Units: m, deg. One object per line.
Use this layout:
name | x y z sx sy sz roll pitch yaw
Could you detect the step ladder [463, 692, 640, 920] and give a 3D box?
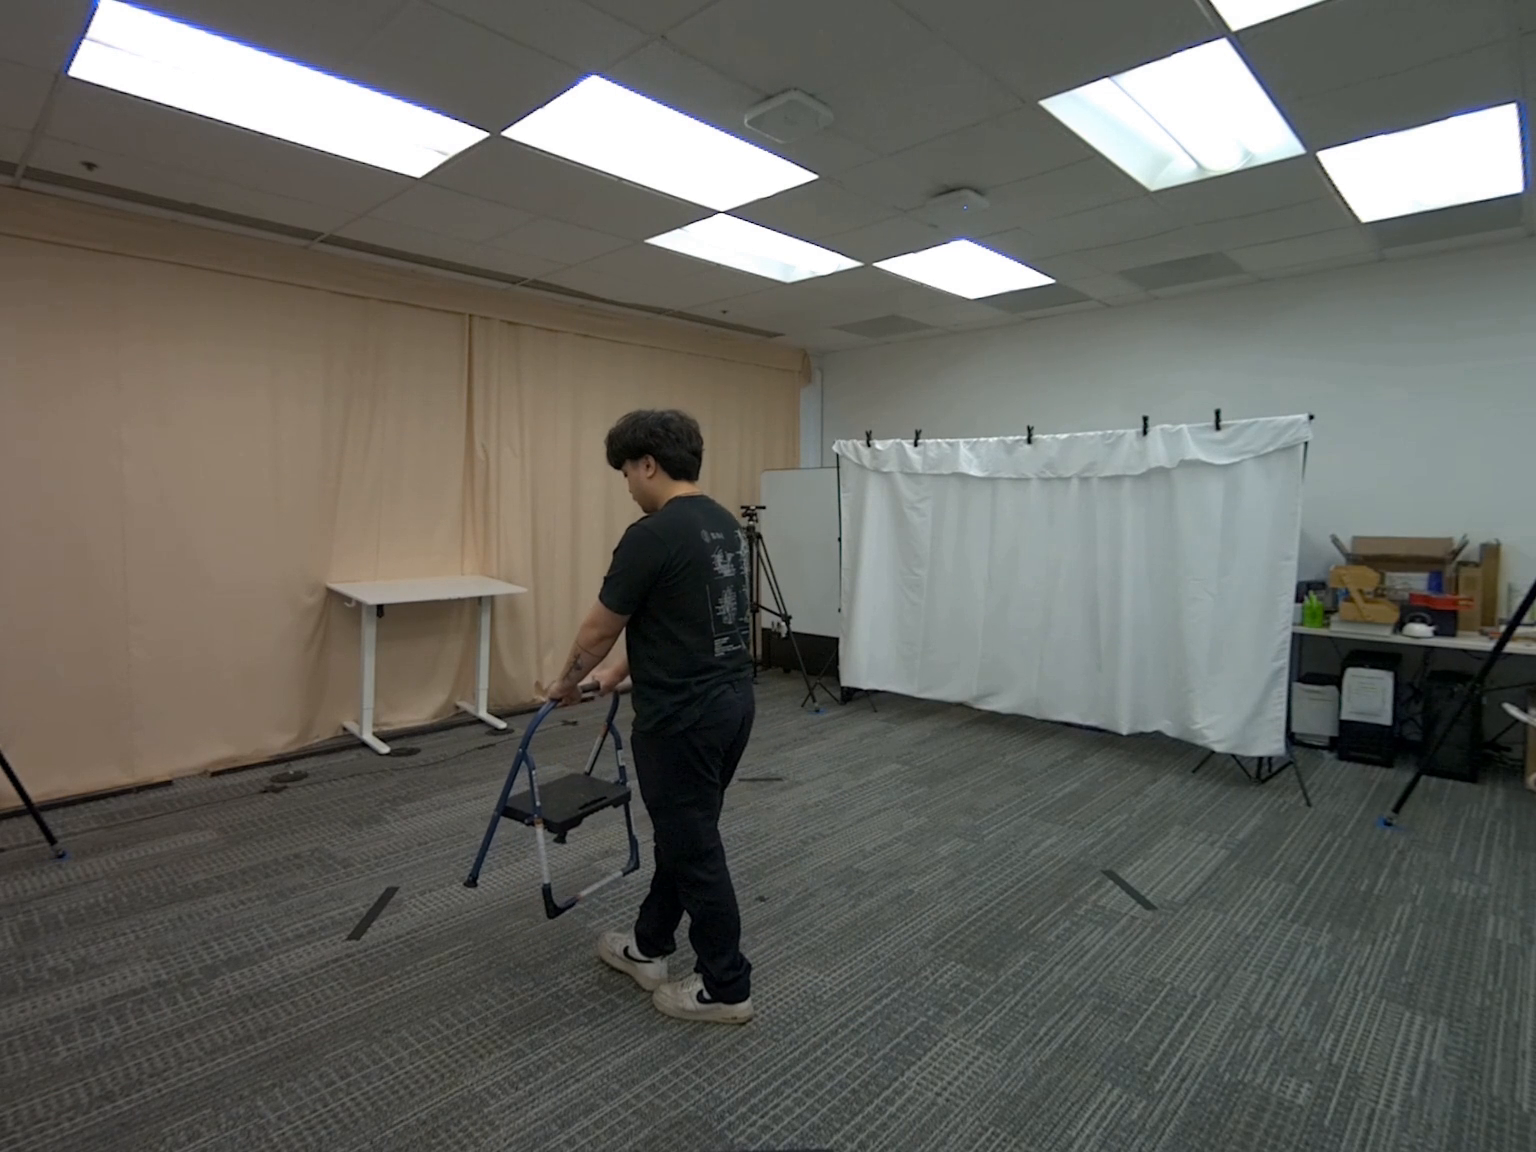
step ladder | -0.626 0.622 2.540 0.359 0.605 0.419 6 5 28
